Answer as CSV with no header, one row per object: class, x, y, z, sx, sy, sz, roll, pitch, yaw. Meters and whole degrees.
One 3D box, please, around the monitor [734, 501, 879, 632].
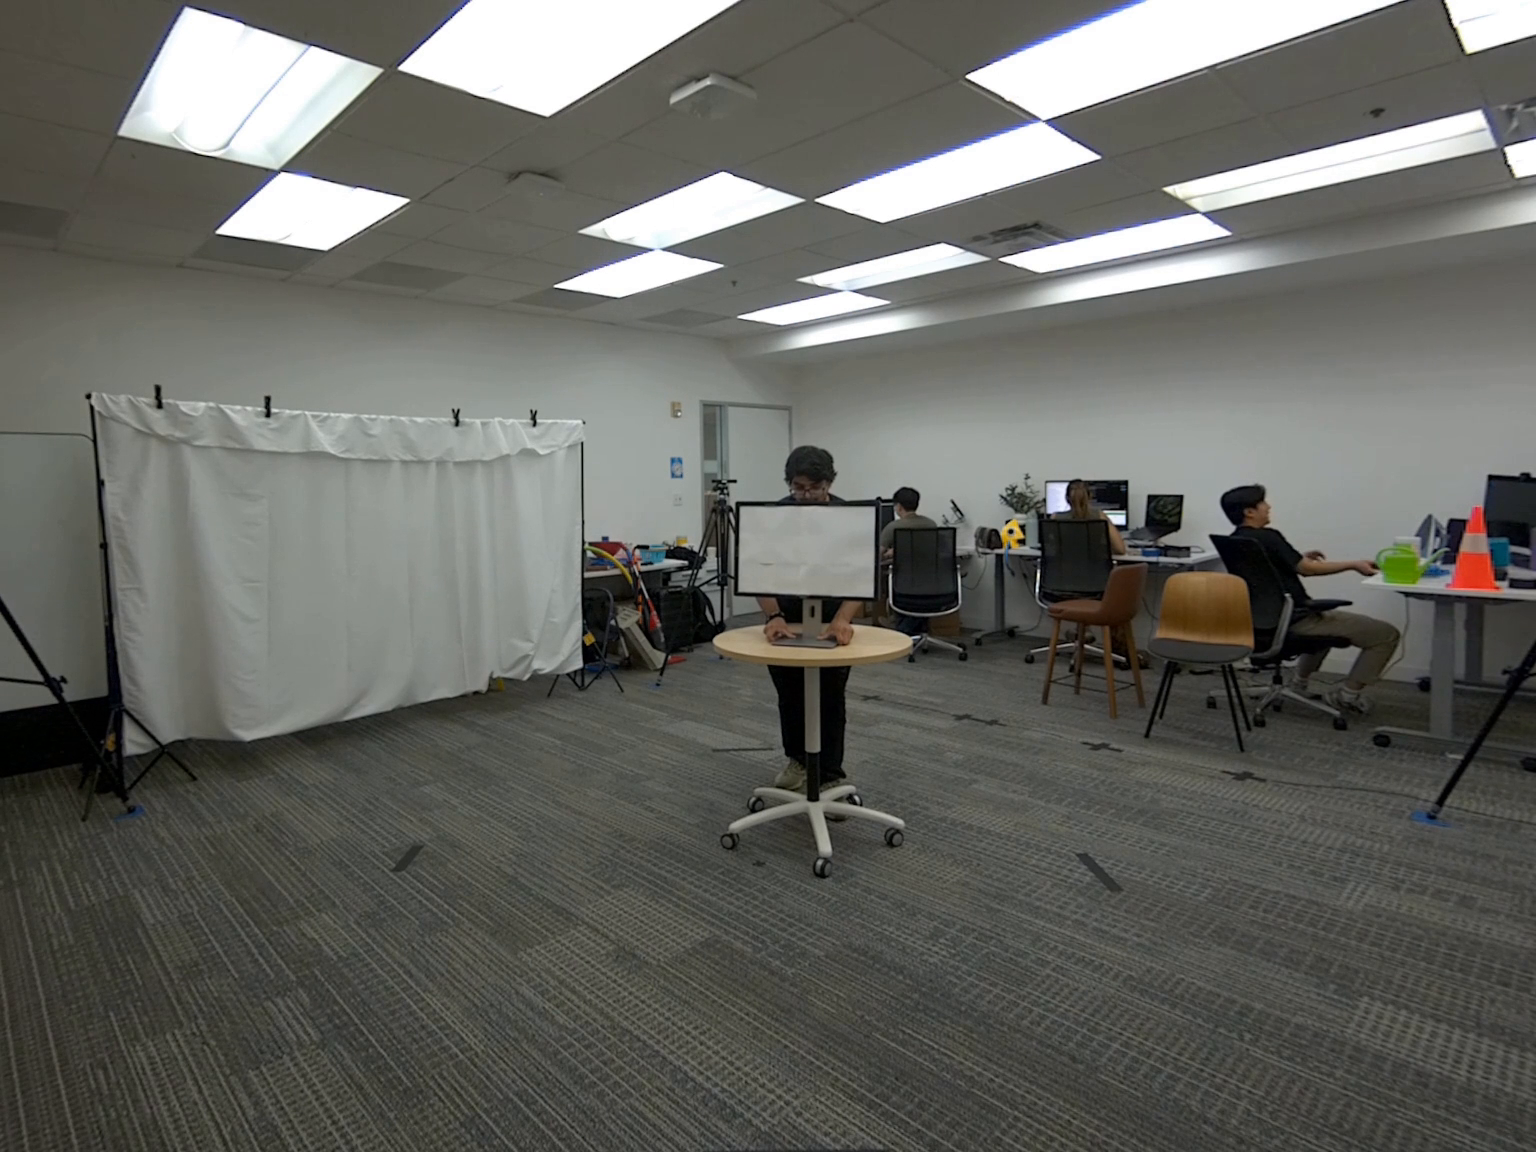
monitor,0.163,-0.012,3.248,0.577,0.552,0.206,1,3,22
